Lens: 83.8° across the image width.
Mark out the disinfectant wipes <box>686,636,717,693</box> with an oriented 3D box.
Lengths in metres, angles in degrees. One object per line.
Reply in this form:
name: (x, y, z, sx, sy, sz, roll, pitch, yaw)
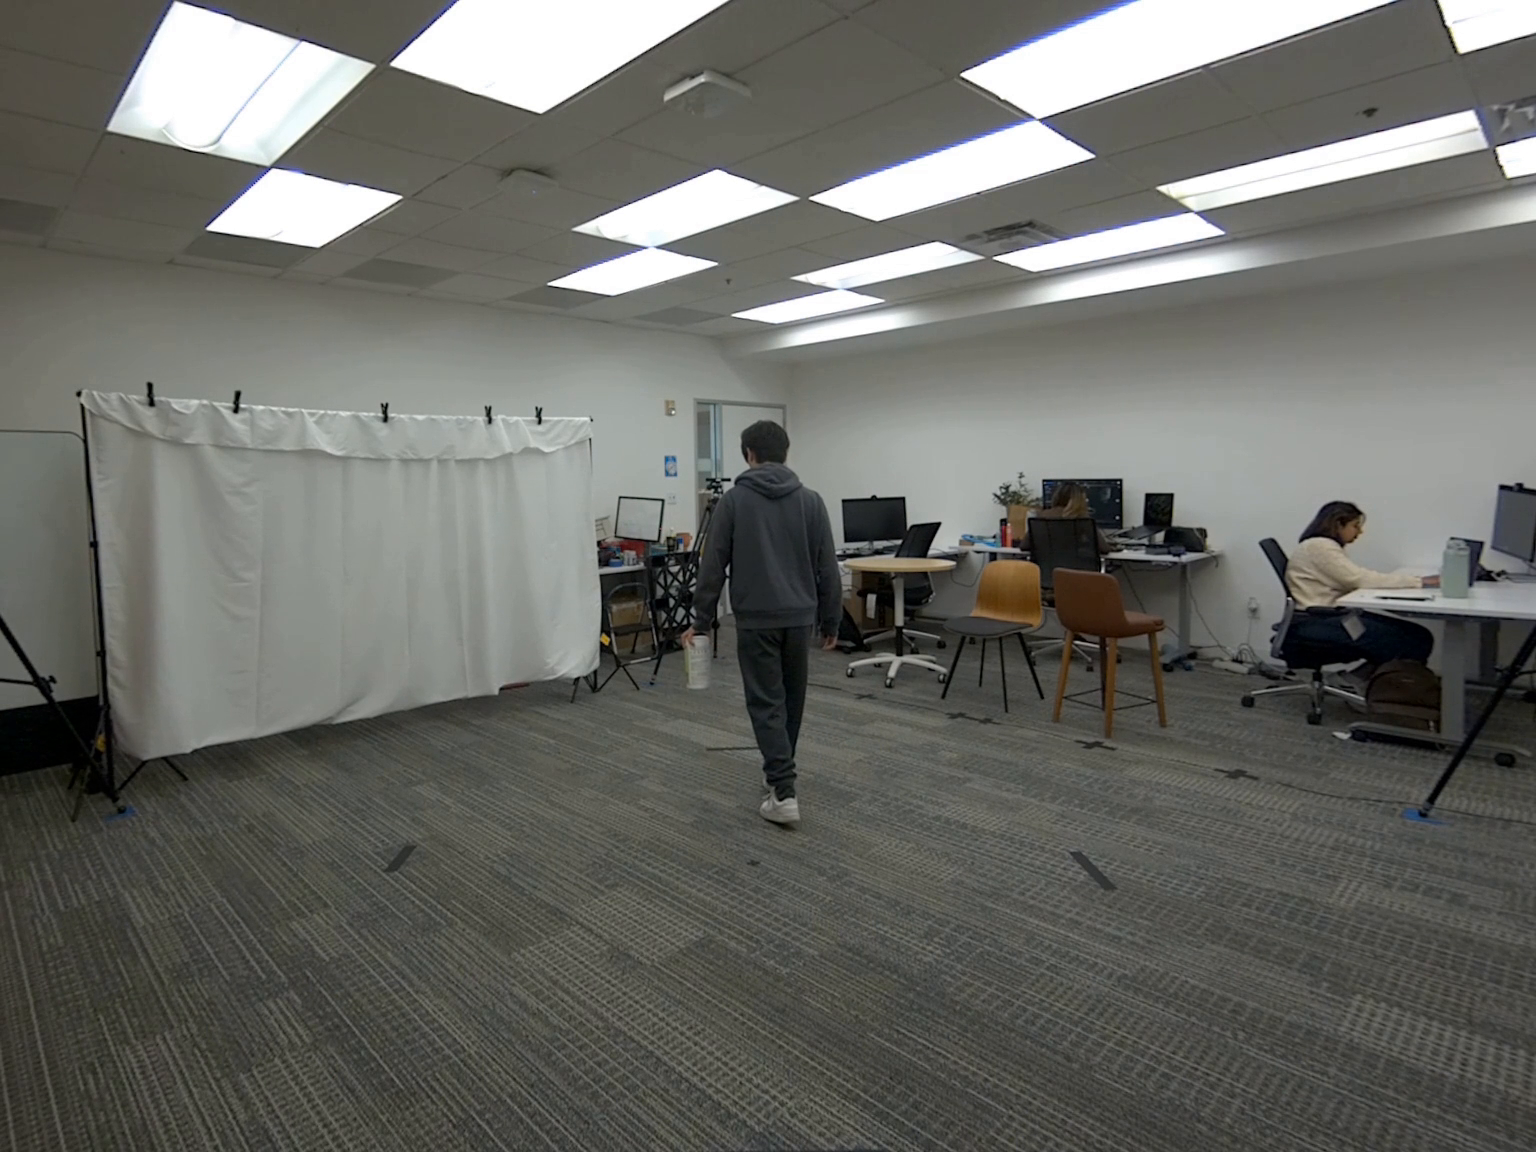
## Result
disinfectant wipes: (-0.285, 0.373, 3.656, 0.118, 0.218, 0.118, -3, -1, -2)
